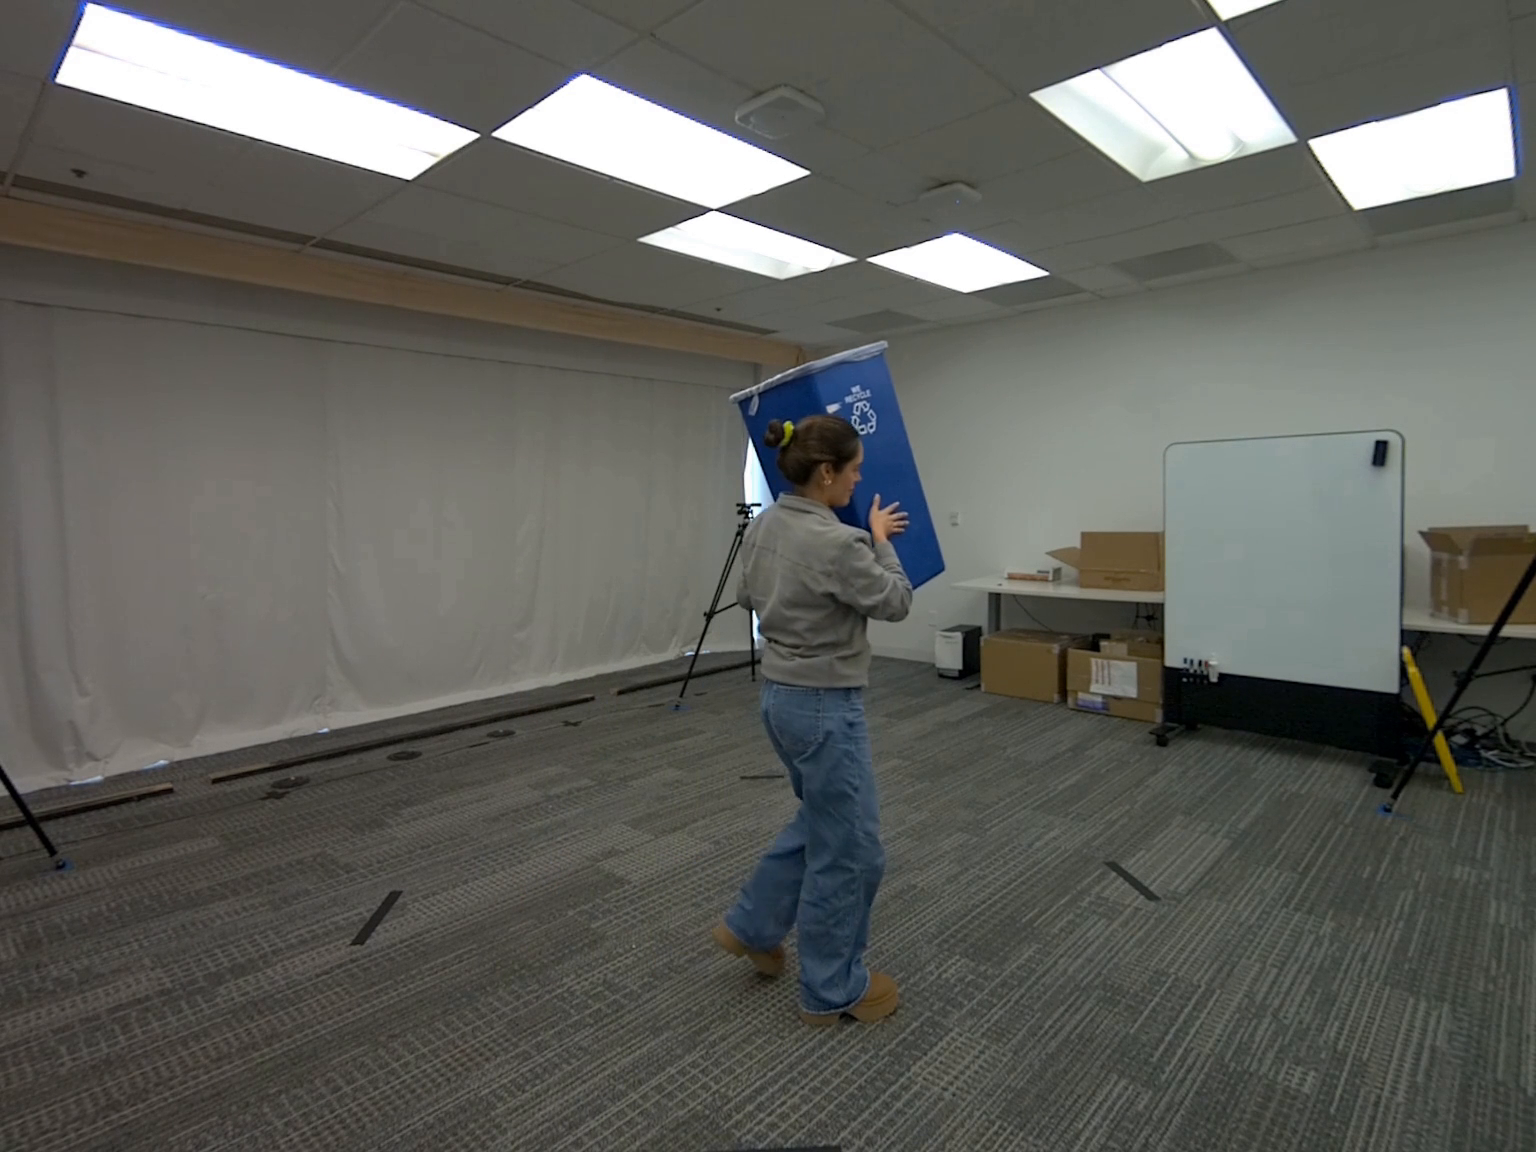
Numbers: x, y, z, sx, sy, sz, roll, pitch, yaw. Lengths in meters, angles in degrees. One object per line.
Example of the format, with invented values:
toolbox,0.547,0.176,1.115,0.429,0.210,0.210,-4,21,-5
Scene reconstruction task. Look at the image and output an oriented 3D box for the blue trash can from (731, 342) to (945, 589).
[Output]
blue trash can,0.233,-0.291,2.560,0.366,0.709,0.388,-25,9,-38
